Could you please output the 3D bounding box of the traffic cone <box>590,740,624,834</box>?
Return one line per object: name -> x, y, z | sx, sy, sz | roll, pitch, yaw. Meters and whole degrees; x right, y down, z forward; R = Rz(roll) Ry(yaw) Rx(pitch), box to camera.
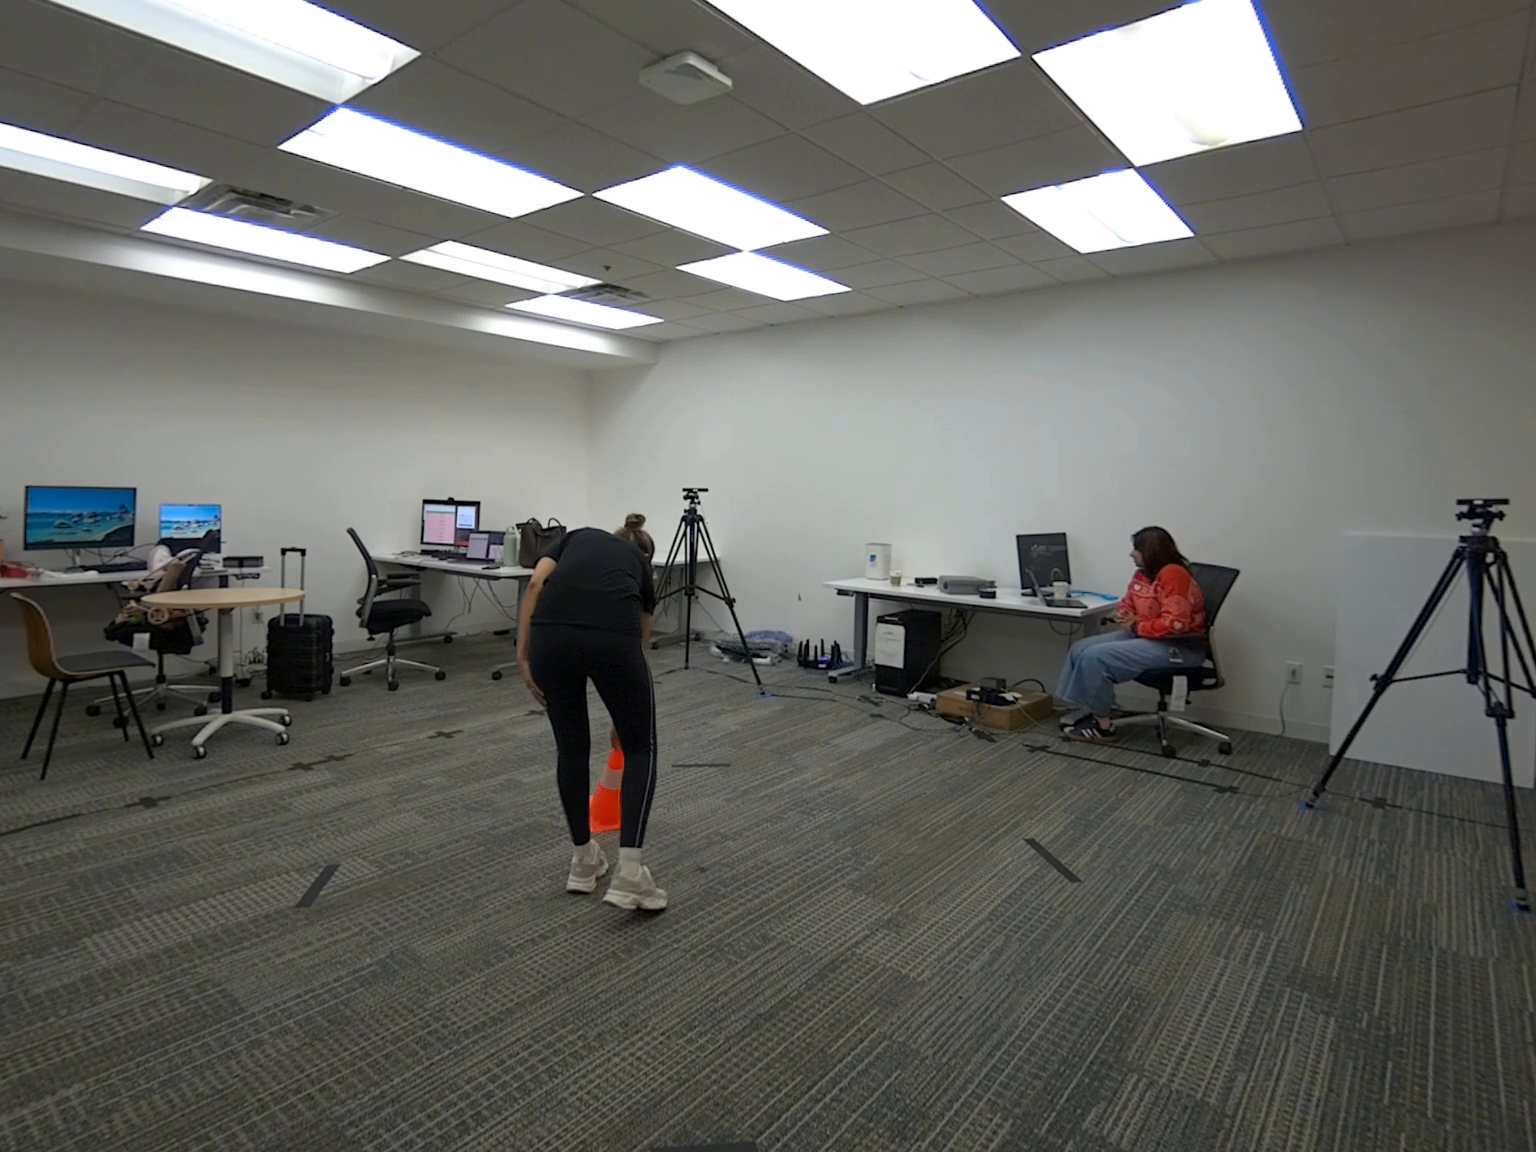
traffic cone -> -0.631, 0.820, 3.448 | 0.199, 0.377, 0.213 | -1, 27, -22
